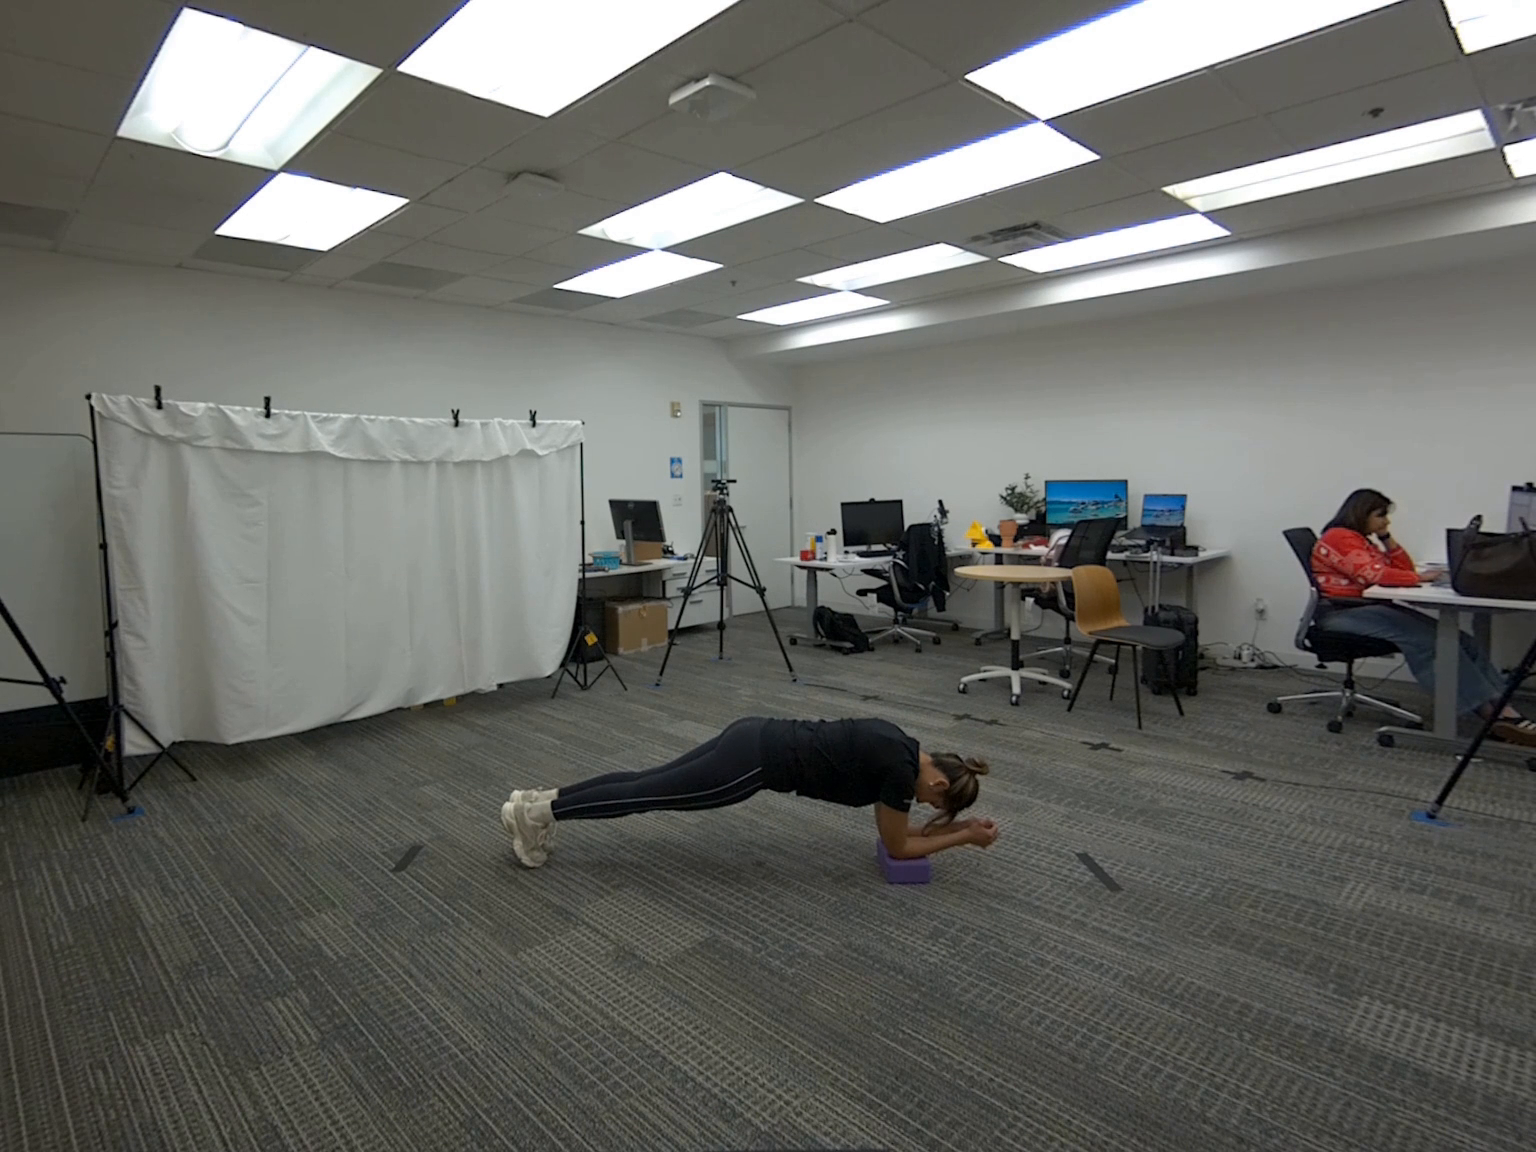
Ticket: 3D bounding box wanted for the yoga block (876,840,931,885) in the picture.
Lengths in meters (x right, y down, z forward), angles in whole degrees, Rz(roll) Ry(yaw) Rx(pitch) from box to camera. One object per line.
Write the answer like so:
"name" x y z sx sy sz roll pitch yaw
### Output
"yoga block" 0.477 1.000 3.038 0.149 0.076 0.230 0 6 0
